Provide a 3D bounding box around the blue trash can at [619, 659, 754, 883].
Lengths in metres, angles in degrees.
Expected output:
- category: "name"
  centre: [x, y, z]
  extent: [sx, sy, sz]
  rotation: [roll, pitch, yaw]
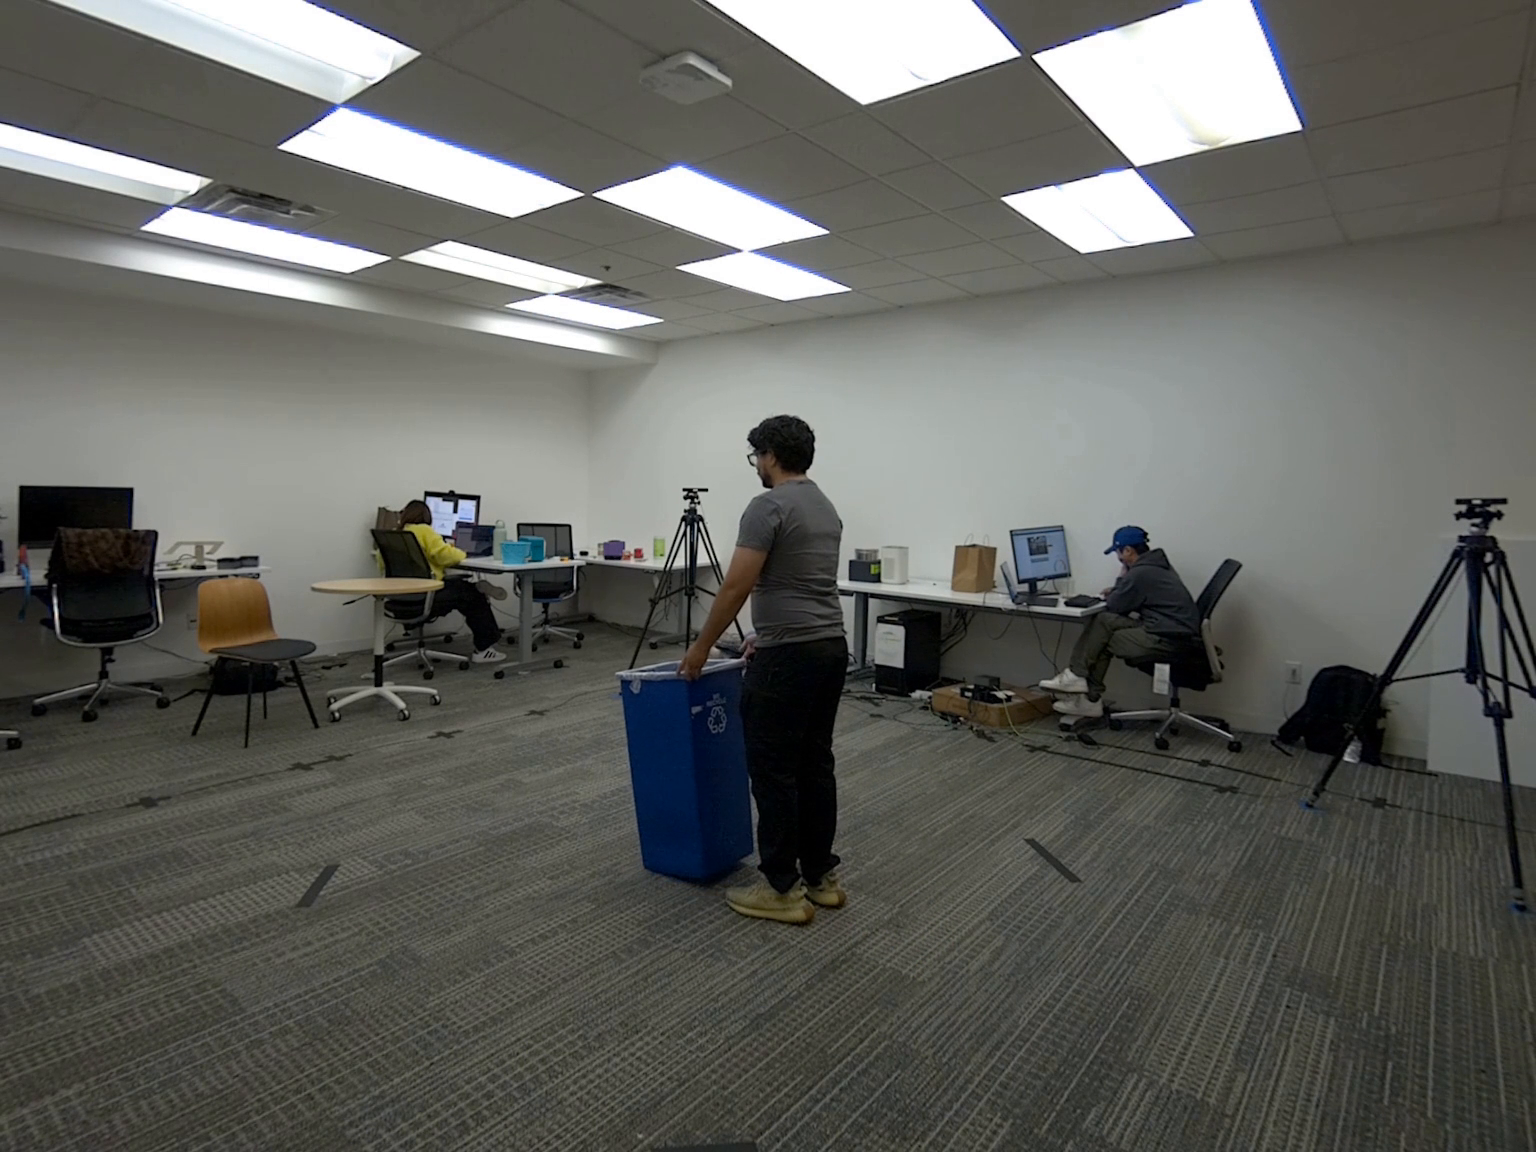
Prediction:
- category: "blue trash can"
  centre: [-0.295, 0.691, 3.157]
  extent: [0.384, 0.716, 0.367]
  rotation: [-8, -4, 36]
